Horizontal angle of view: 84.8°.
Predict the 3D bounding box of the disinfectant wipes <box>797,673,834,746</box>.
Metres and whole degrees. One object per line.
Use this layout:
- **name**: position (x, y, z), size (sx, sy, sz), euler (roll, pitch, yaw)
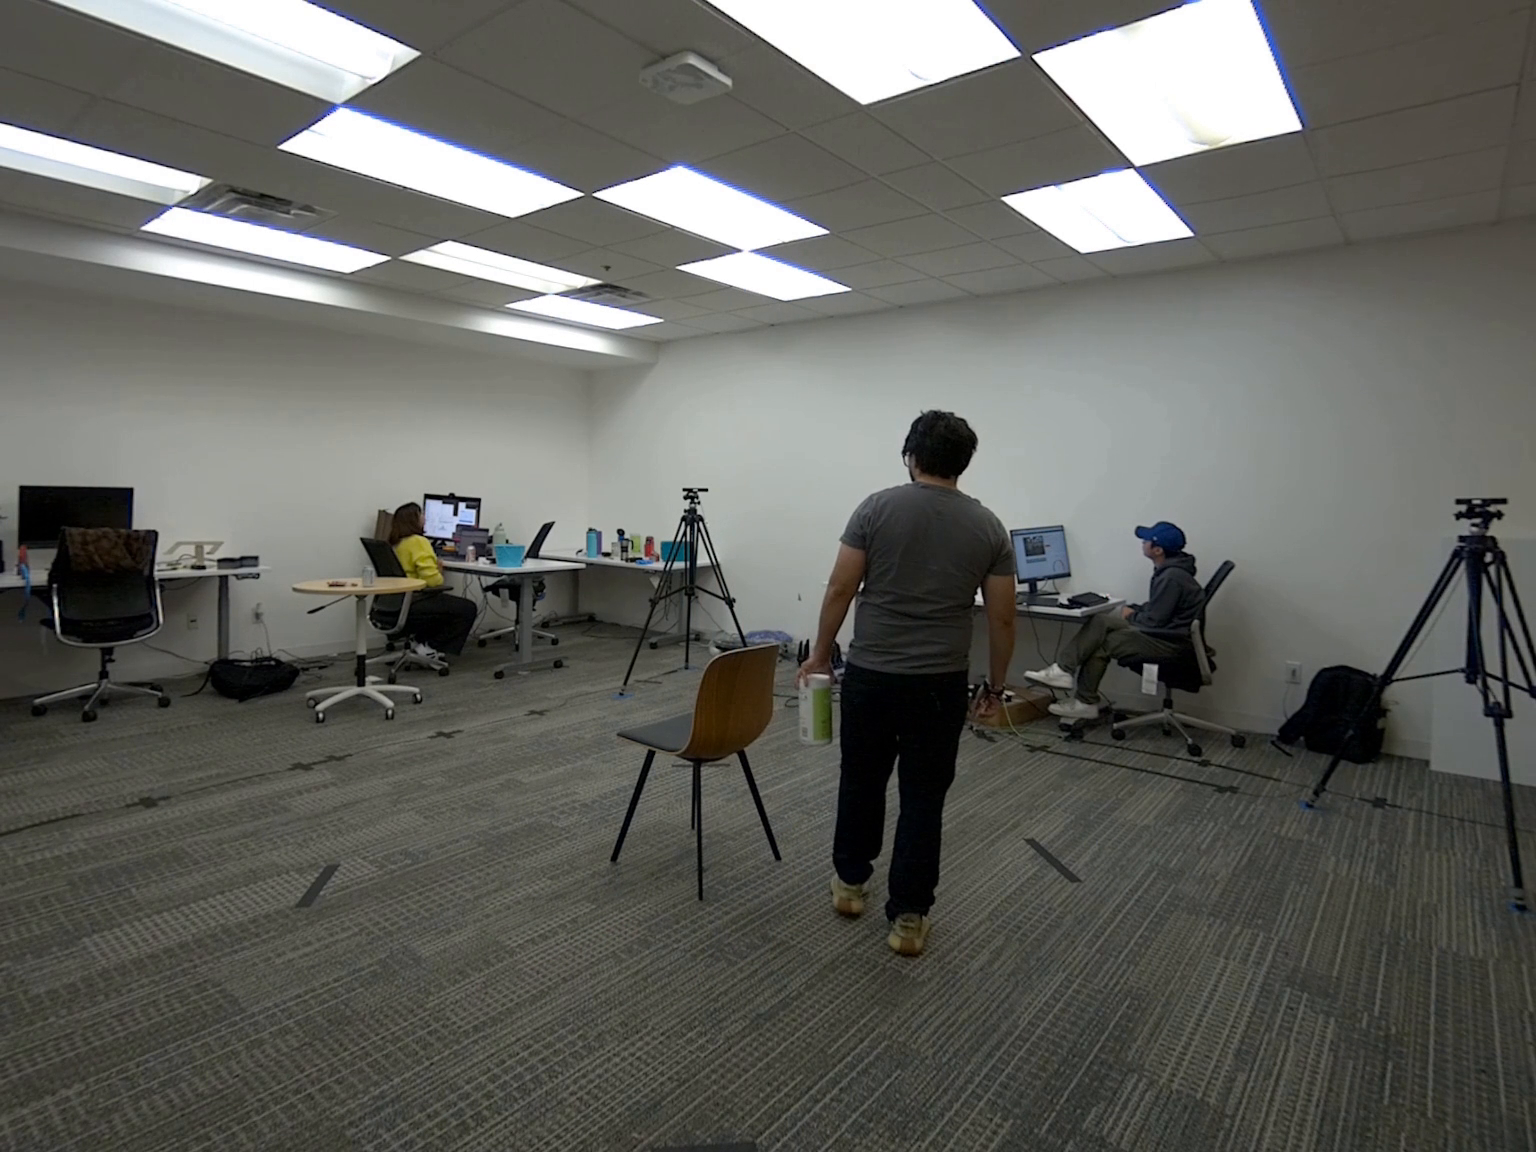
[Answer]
- **disinfectant wipes**: position (0.155, 0.441, 2.798), size (0.118, 0.217, 0.118), euler (-2, 2, -2)
